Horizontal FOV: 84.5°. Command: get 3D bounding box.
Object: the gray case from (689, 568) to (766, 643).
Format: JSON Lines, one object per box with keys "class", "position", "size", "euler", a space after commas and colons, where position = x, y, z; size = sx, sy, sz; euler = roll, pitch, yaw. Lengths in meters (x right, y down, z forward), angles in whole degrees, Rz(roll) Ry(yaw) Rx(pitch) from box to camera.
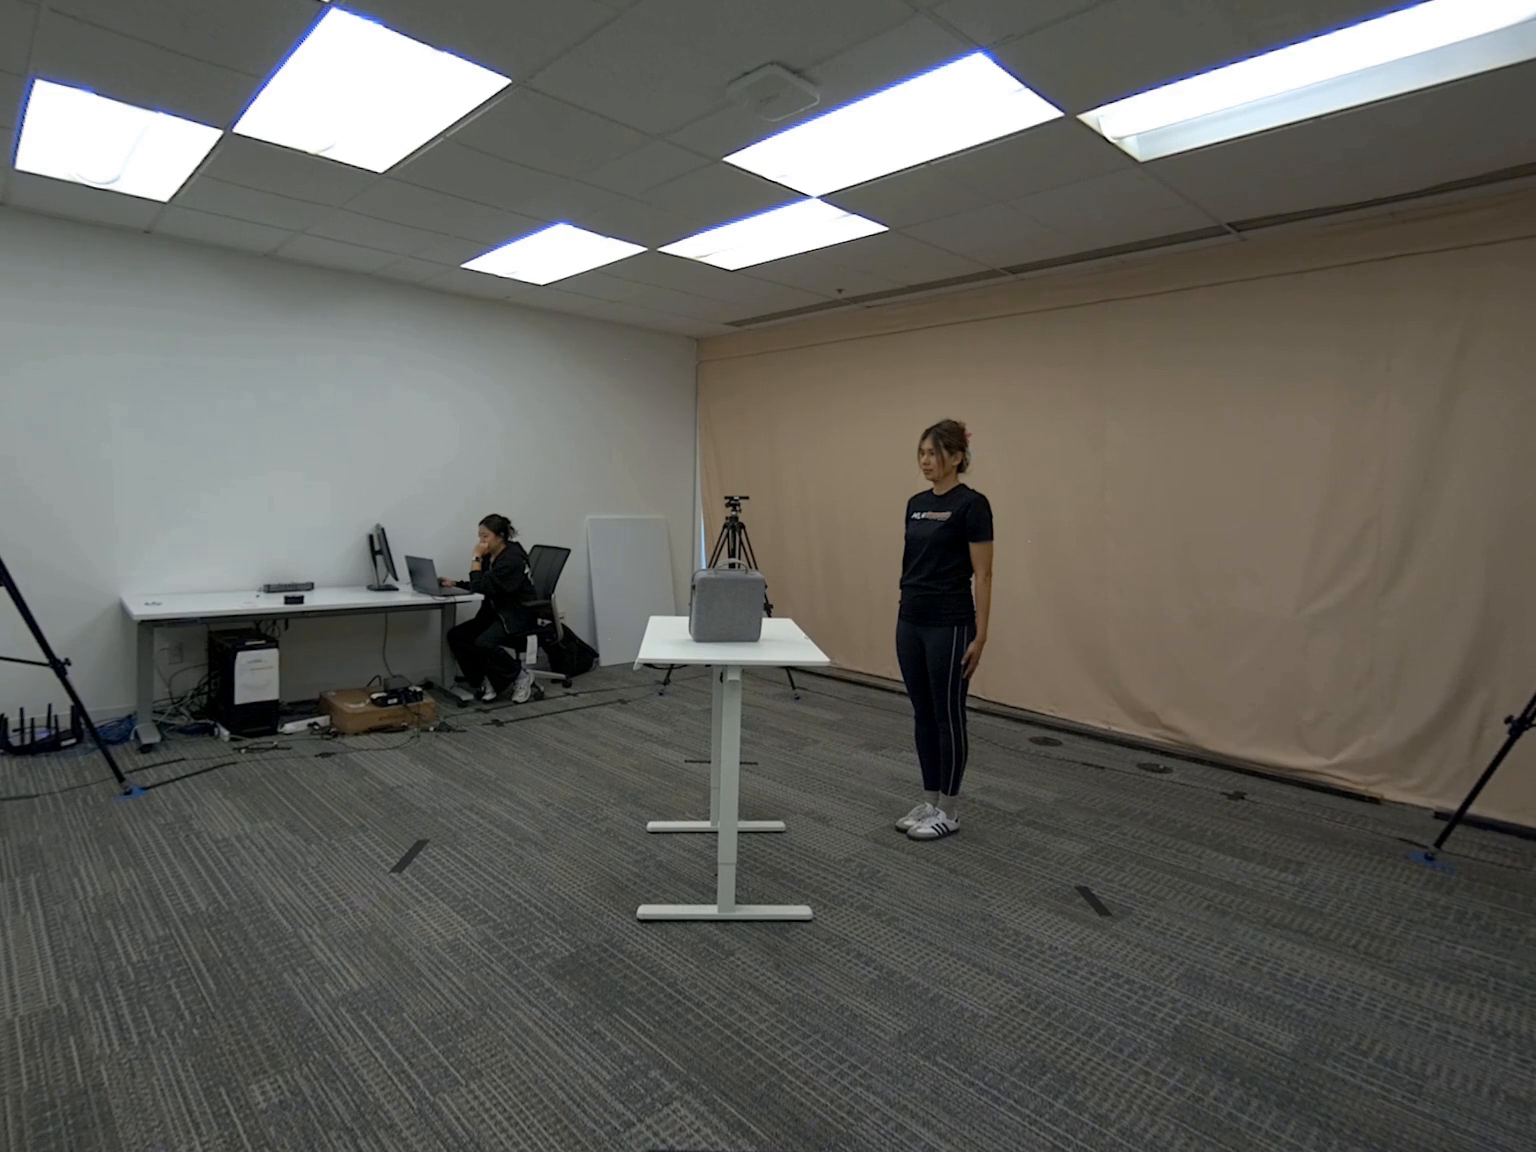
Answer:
{"class": "gray case", "position": [-0.146, 0.102, 2.960], "size": [0.254, 0.258, 0.106], "euler": [0, 14, -13]}
